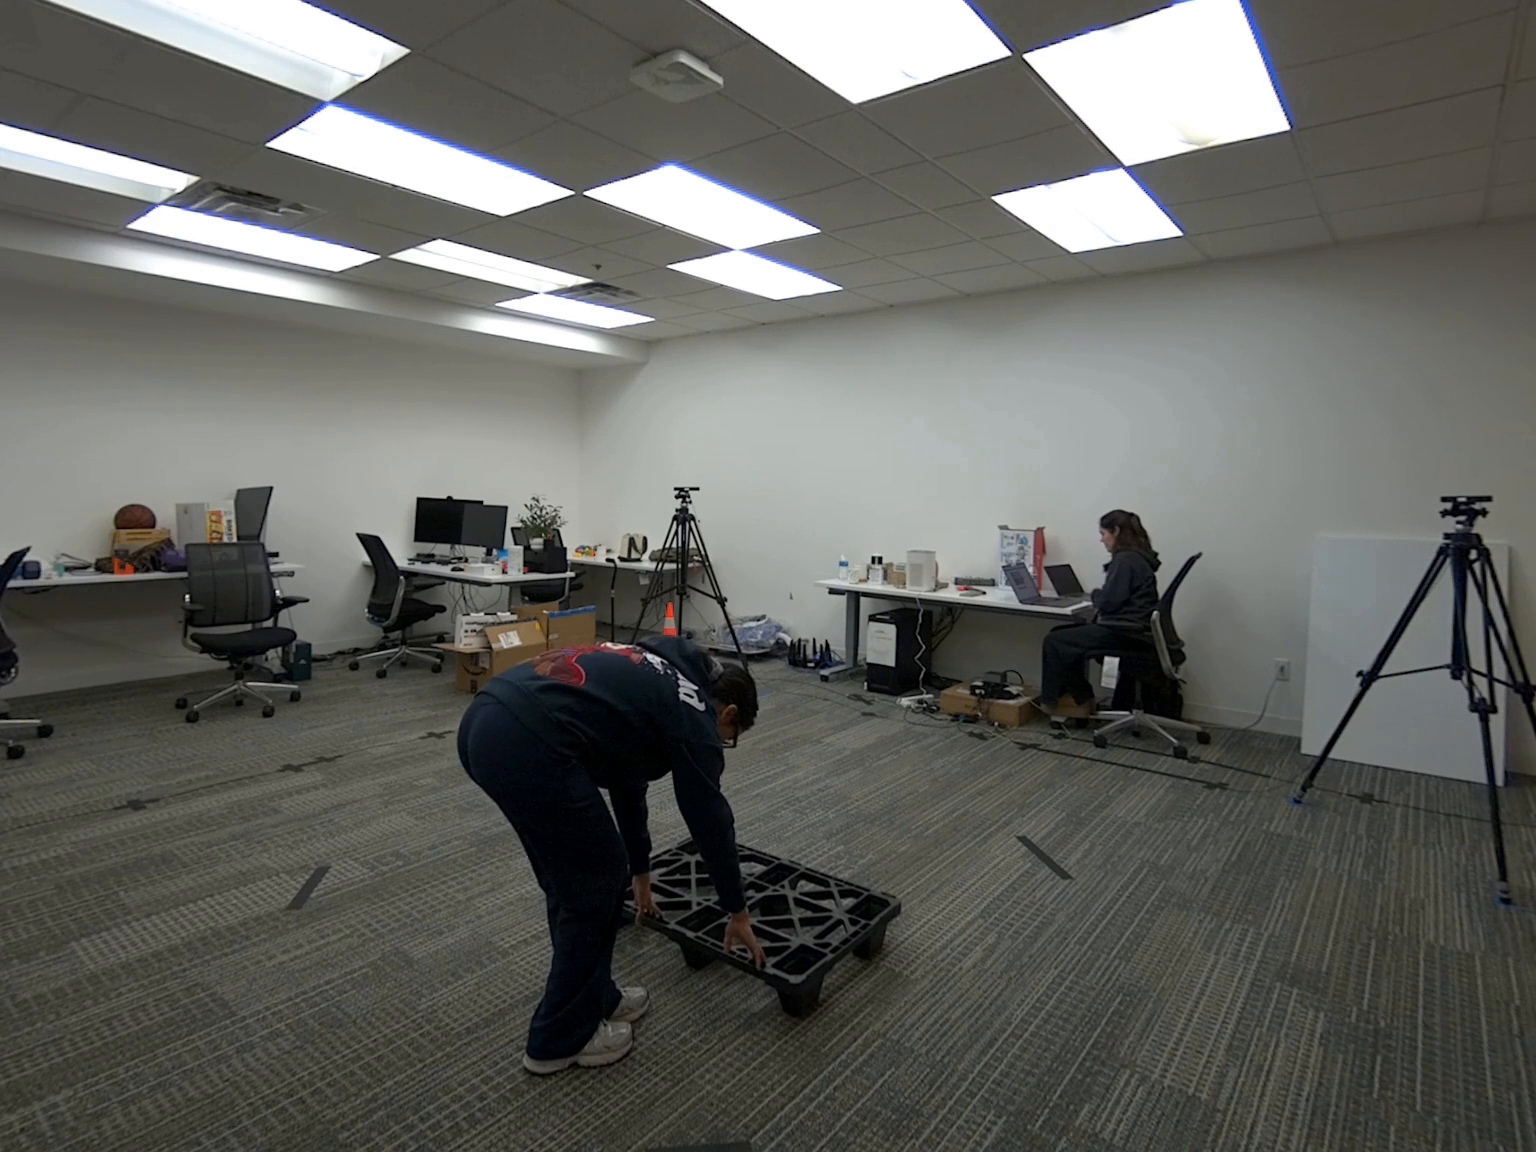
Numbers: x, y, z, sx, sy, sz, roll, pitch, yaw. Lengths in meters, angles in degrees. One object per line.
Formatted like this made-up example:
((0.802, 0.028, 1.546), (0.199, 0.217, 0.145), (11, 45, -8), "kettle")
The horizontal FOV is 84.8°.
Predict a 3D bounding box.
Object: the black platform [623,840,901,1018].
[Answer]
((-0.087, 1.049, 2.634), (0.832, 0.143, 0.588), (5, 8, 37), "black platform")
